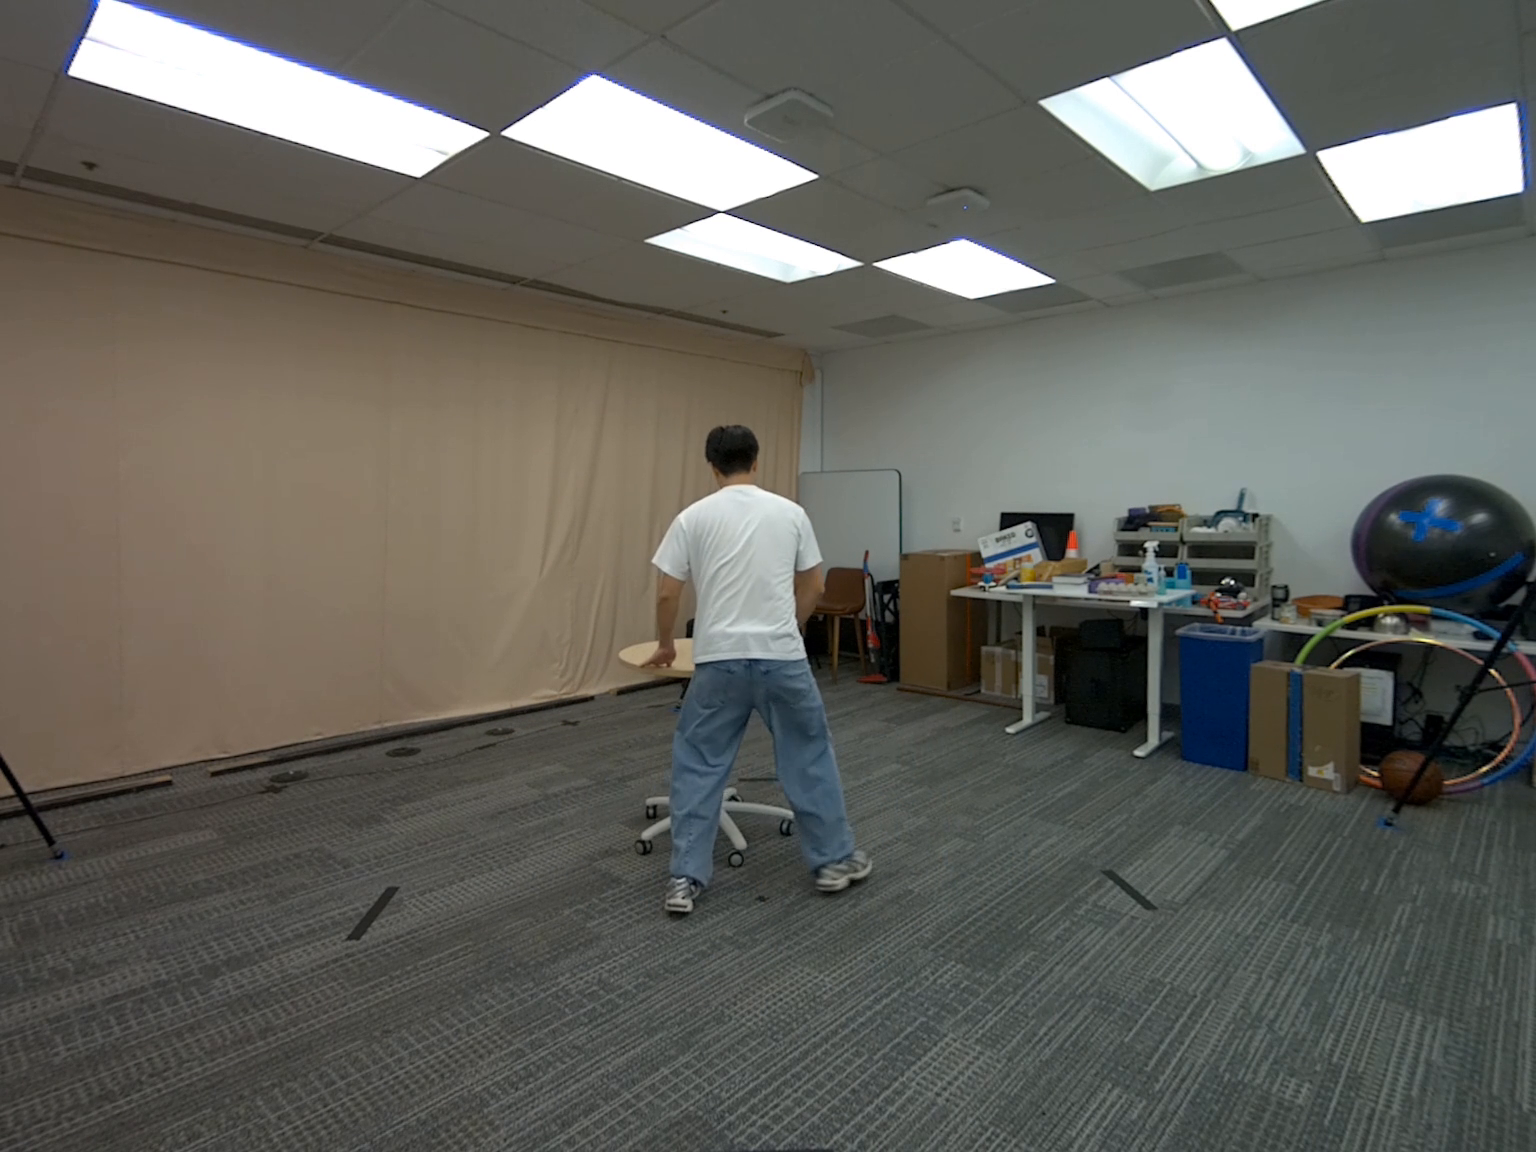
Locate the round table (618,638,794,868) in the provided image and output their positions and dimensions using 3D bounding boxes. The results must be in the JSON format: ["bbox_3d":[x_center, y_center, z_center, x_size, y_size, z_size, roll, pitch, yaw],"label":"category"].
[{"bbox_3d":[-0.241,0.711,3.550,0.763,0.792,0.766,-1,4,-2],"label":"round table"}]
